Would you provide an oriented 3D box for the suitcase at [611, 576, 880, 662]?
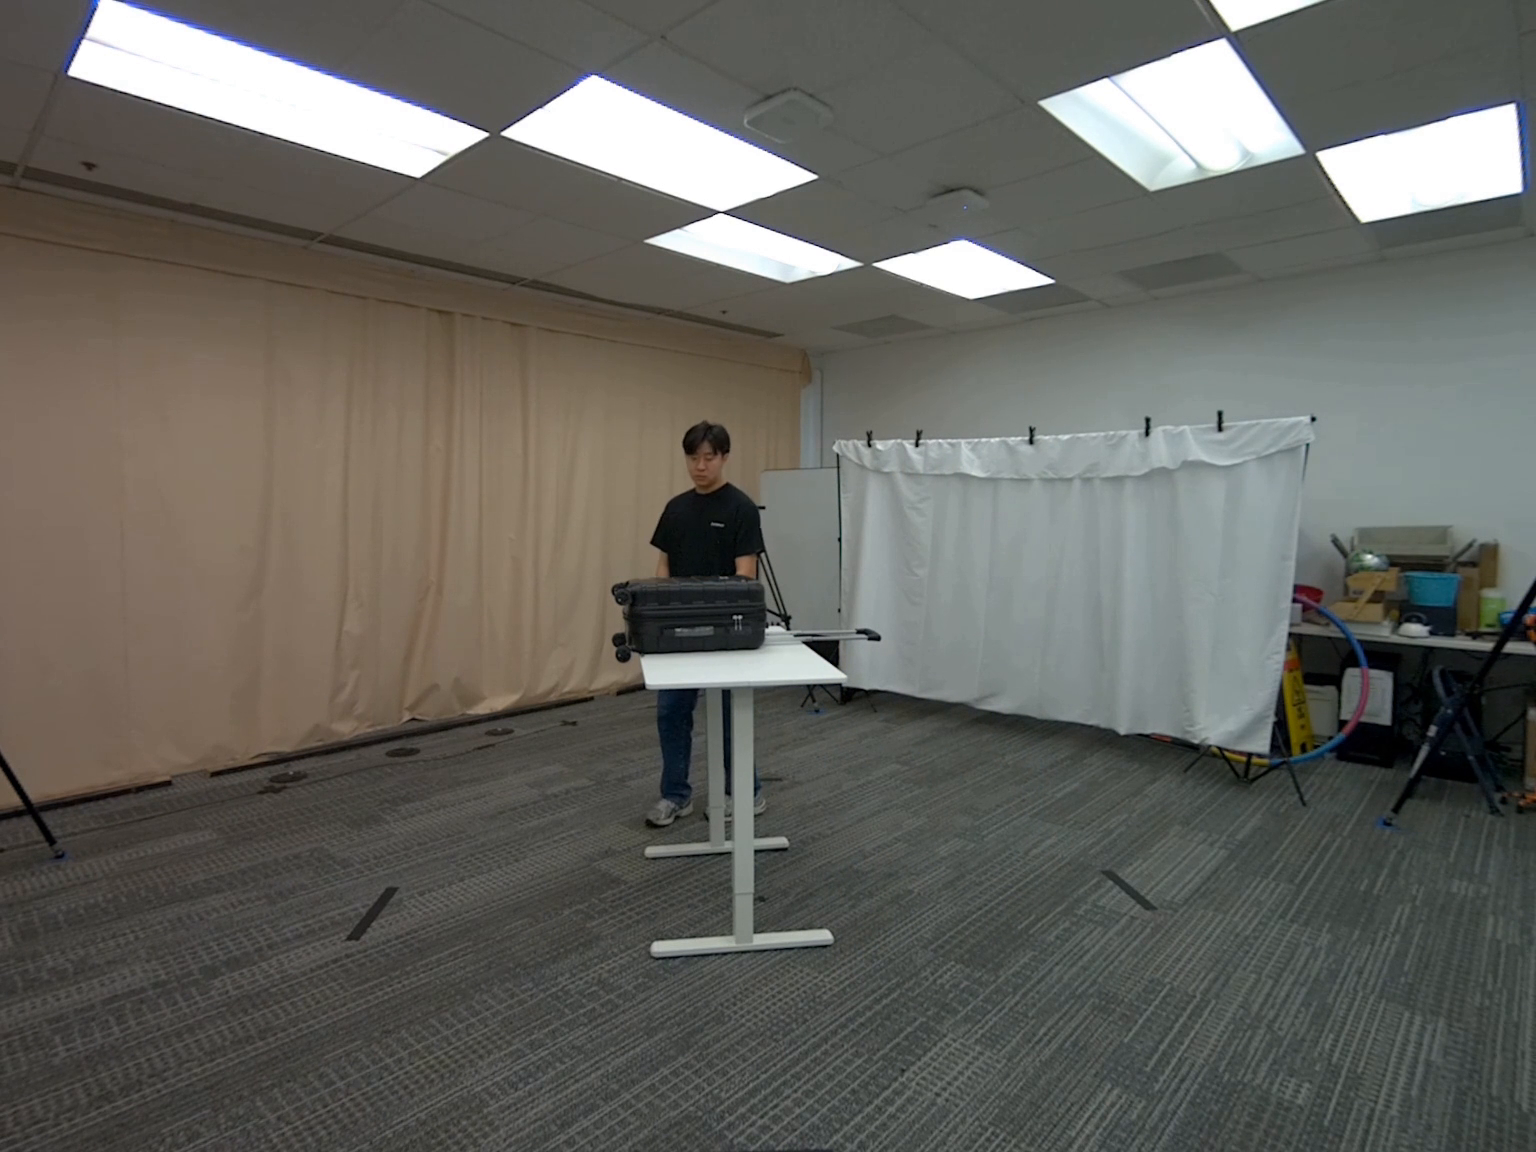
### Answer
[{"bbox_3d":[-0.086,0.126,3.112,0.969,0.256,0.389,-4,5,-9],"label":"suitcase"}]
